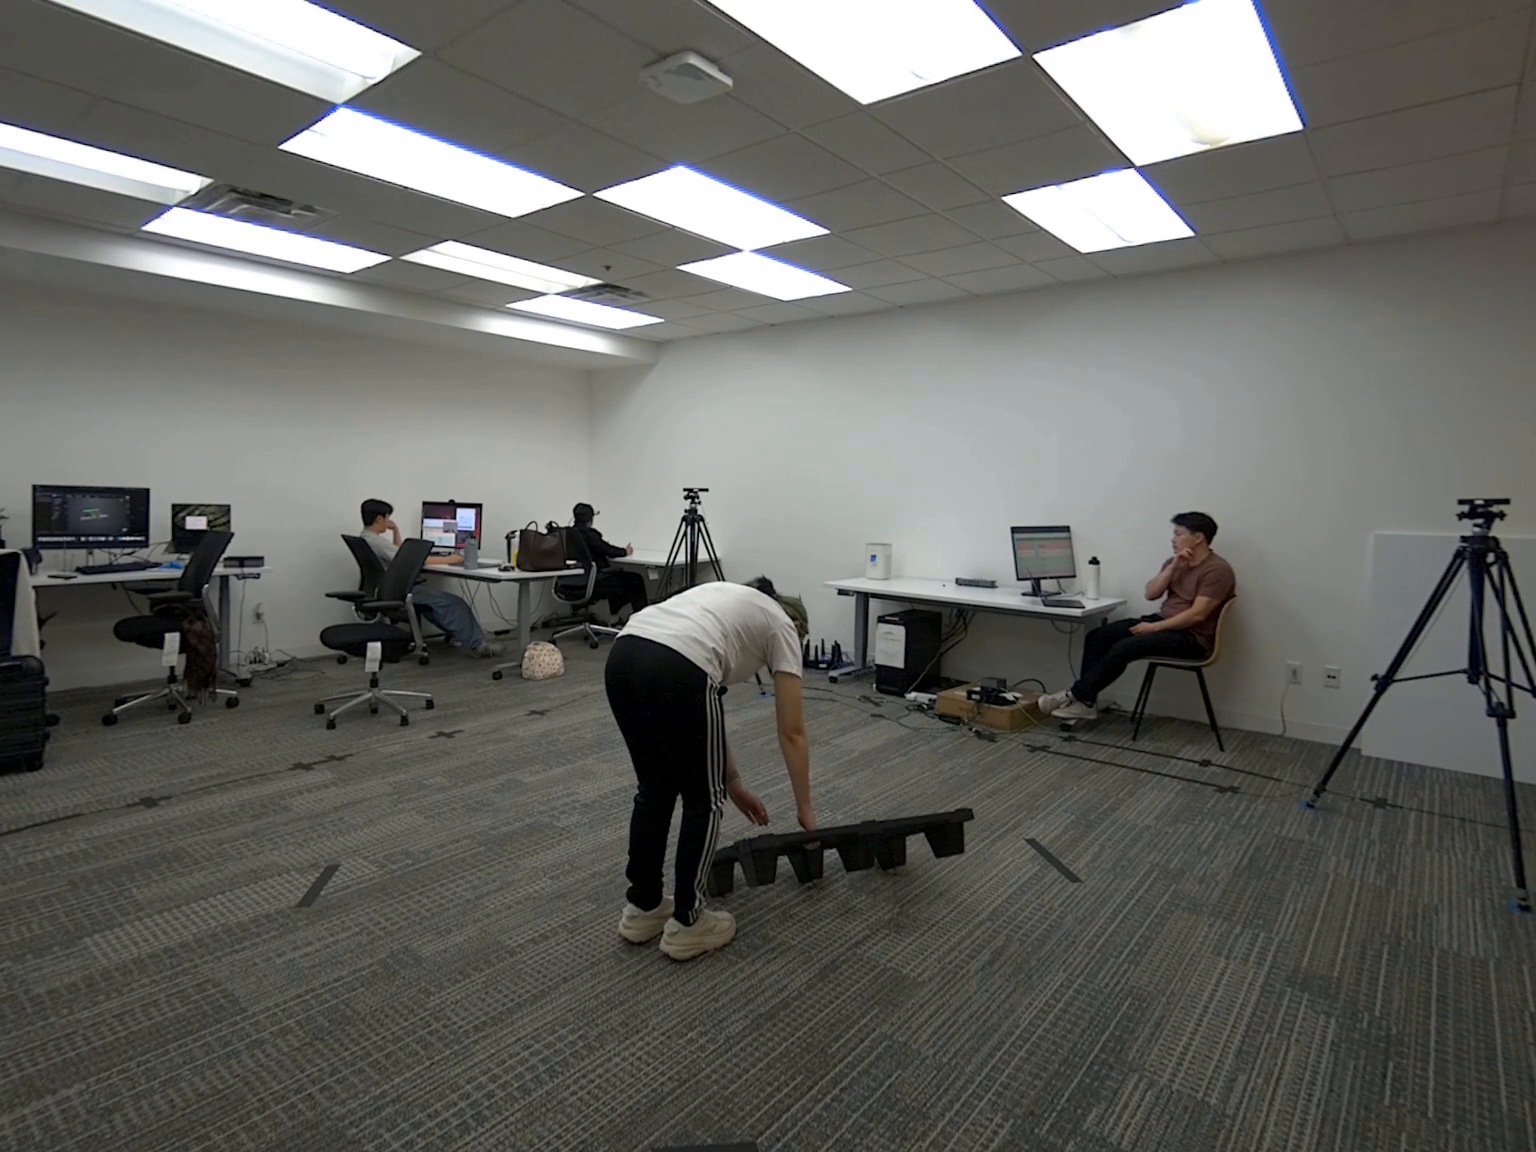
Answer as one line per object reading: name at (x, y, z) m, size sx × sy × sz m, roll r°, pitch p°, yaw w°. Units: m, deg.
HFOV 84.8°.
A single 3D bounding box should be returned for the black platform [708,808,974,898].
black platform at (0.209, 0.932, 2.860) m, size 0.788 × 0.147 × 0.604 m, roll -1°, pitch -23°, yaw -23°
